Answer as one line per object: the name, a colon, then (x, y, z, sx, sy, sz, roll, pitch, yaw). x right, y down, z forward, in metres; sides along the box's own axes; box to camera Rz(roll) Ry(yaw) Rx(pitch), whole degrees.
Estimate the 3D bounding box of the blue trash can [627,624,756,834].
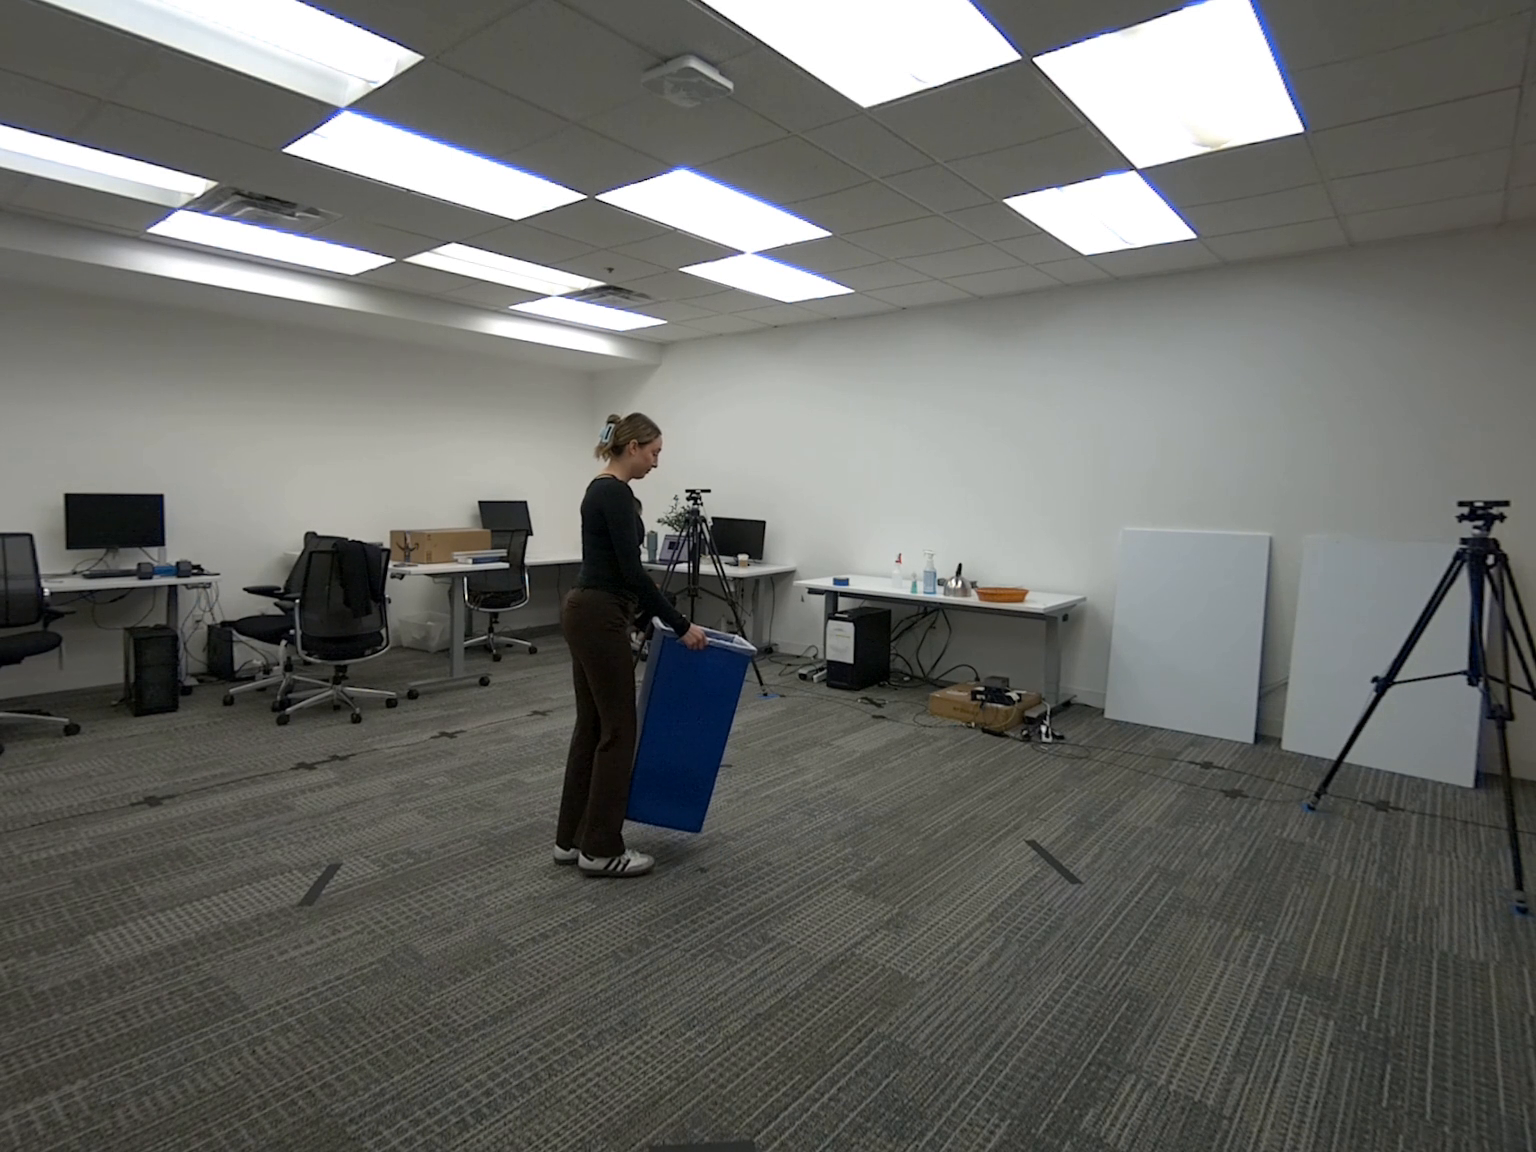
blue trash can: (-0.348, 0.562, 3.274, 0.373, 0.714, 0.379, 14, 0, -12)
